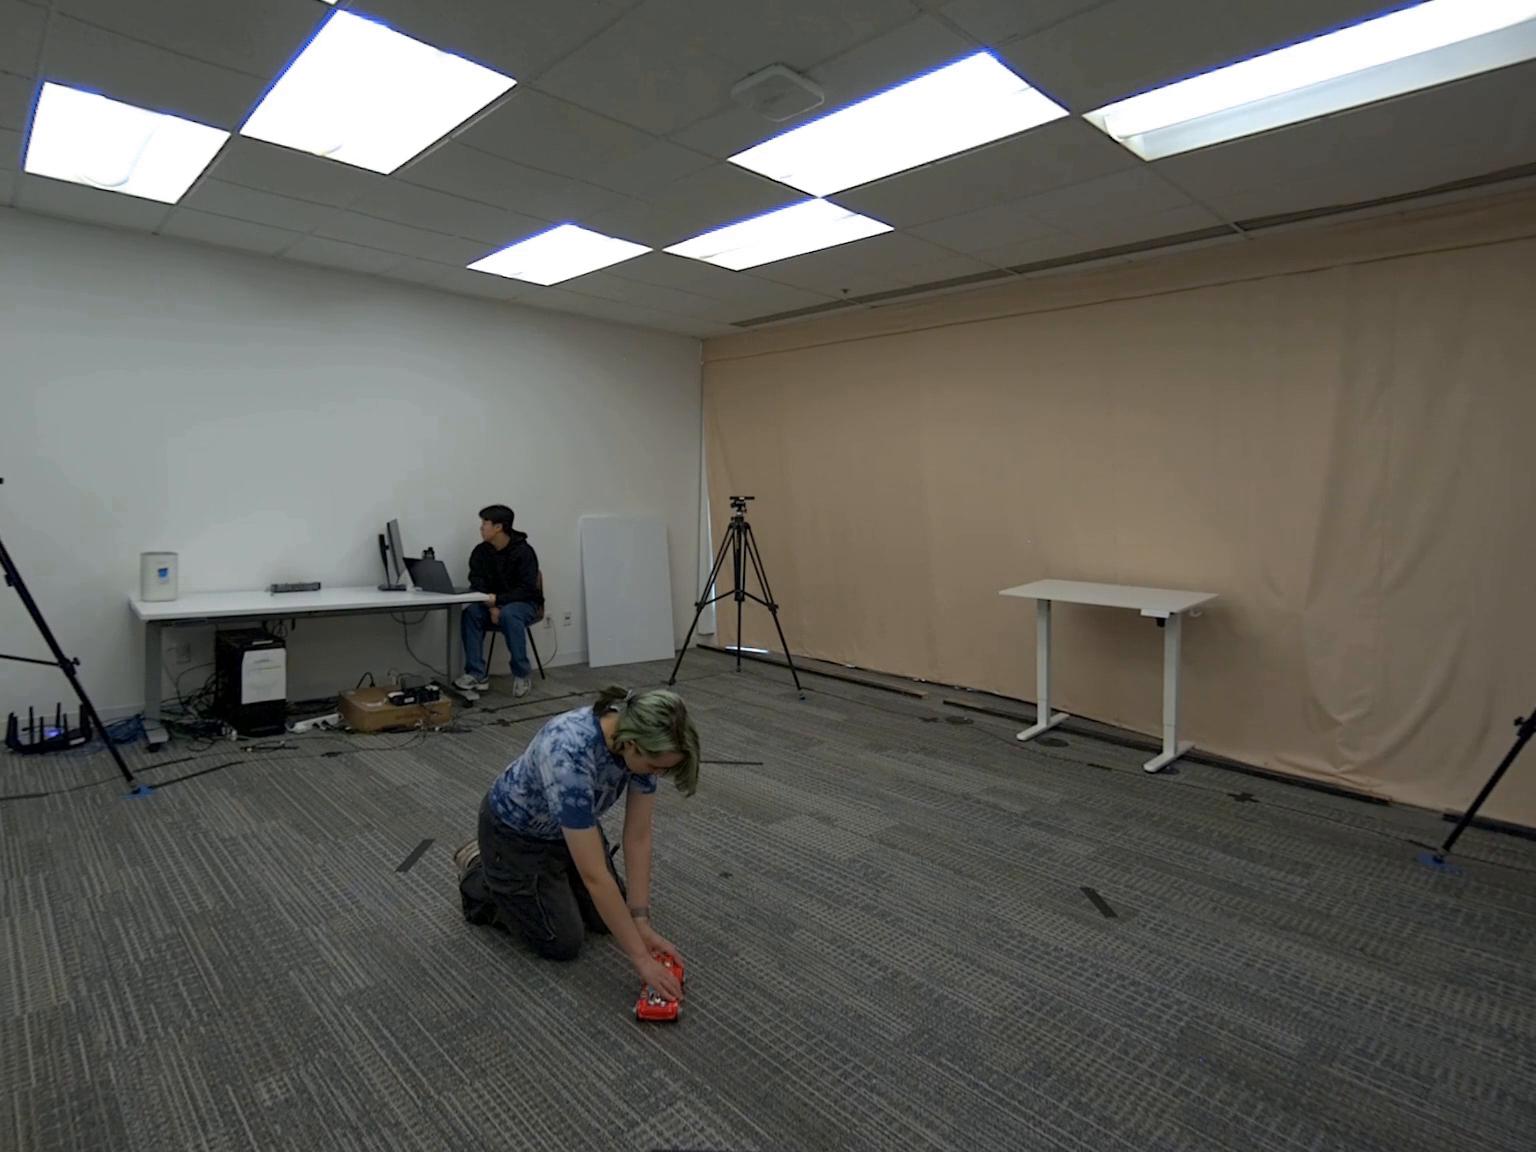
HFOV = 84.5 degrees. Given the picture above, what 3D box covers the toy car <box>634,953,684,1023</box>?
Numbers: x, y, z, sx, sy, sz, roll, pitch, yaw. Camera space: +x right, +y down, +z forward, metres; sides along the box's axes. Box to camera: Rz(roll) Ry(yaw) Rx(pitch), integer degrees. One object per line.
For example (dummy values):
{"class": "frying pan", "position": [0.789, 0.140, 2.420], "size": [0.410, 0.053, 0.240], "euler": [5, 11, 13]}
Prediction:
{"class": "toy car", "position": [-0.306, 1.148, 2.315], "size": [0.130, 0.082, 0.257], "euler": [1, 16, 1]}
